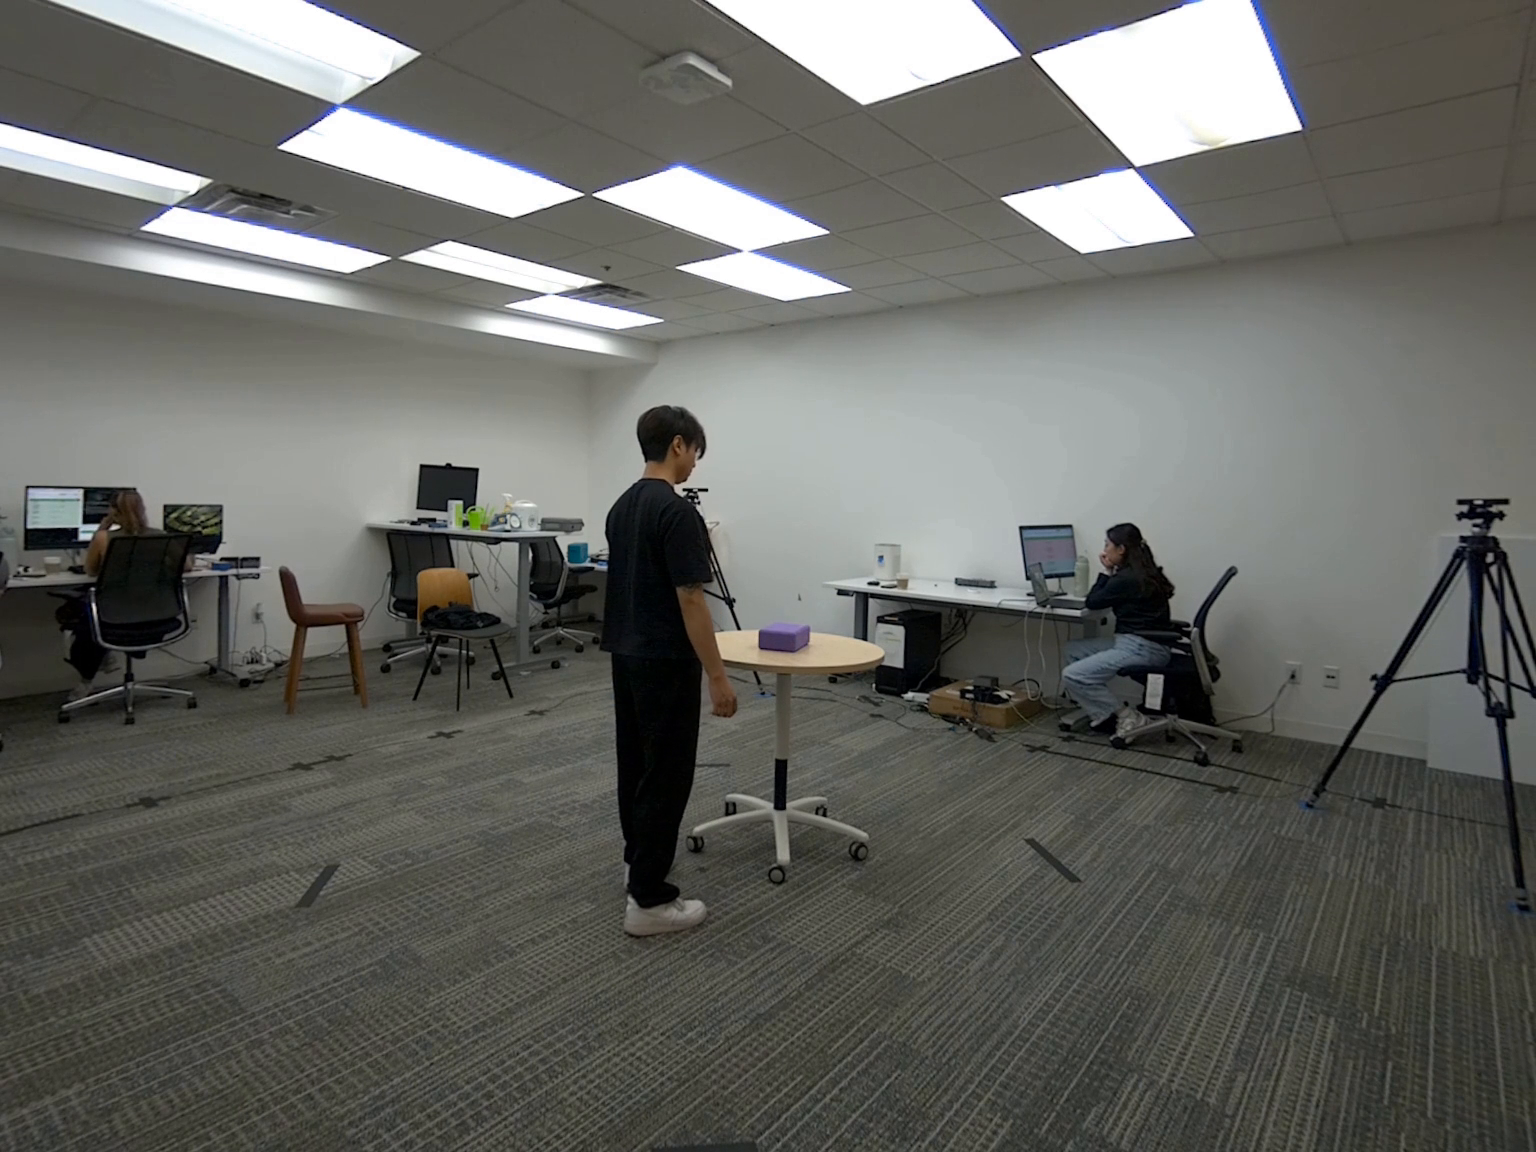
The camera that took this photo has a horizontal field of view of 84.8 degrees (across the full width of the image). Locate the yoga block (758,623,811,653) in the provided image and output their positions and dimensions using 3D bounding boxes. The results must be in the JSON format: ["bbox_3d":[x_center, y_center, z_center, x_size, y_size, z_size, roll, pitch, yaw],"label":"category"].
[{"bbox_3d":[0.059,0.233,3.315,0.152,0.076,0.225,3,5,17],"label":"yoga block"}]
